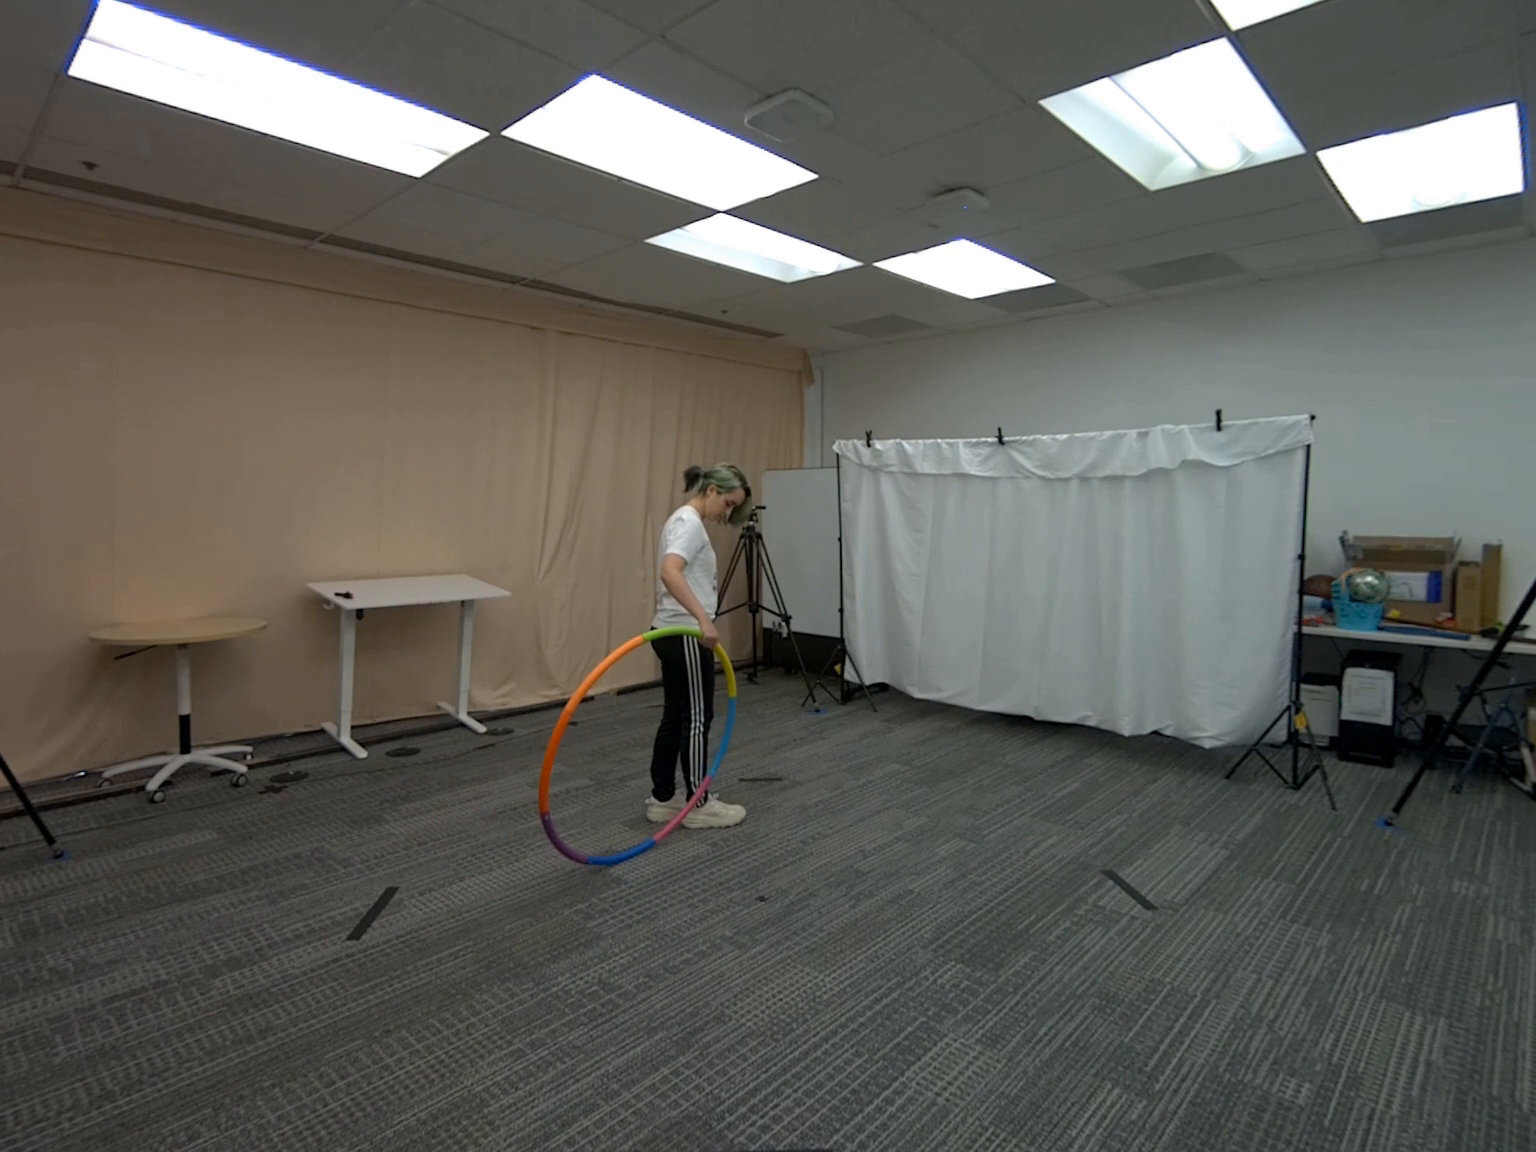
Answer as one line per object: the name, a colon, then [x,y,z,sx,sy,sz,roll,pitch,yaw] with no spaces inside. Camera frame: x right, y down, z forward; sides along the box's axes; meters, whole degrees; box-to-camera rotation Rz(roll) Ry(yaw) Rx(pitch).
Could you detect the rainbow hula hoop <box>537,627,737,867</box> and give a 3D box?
rainbow hula hoop: [-0.465,0.658,3.243,0.037,0.973,0.949,22,17,38]
